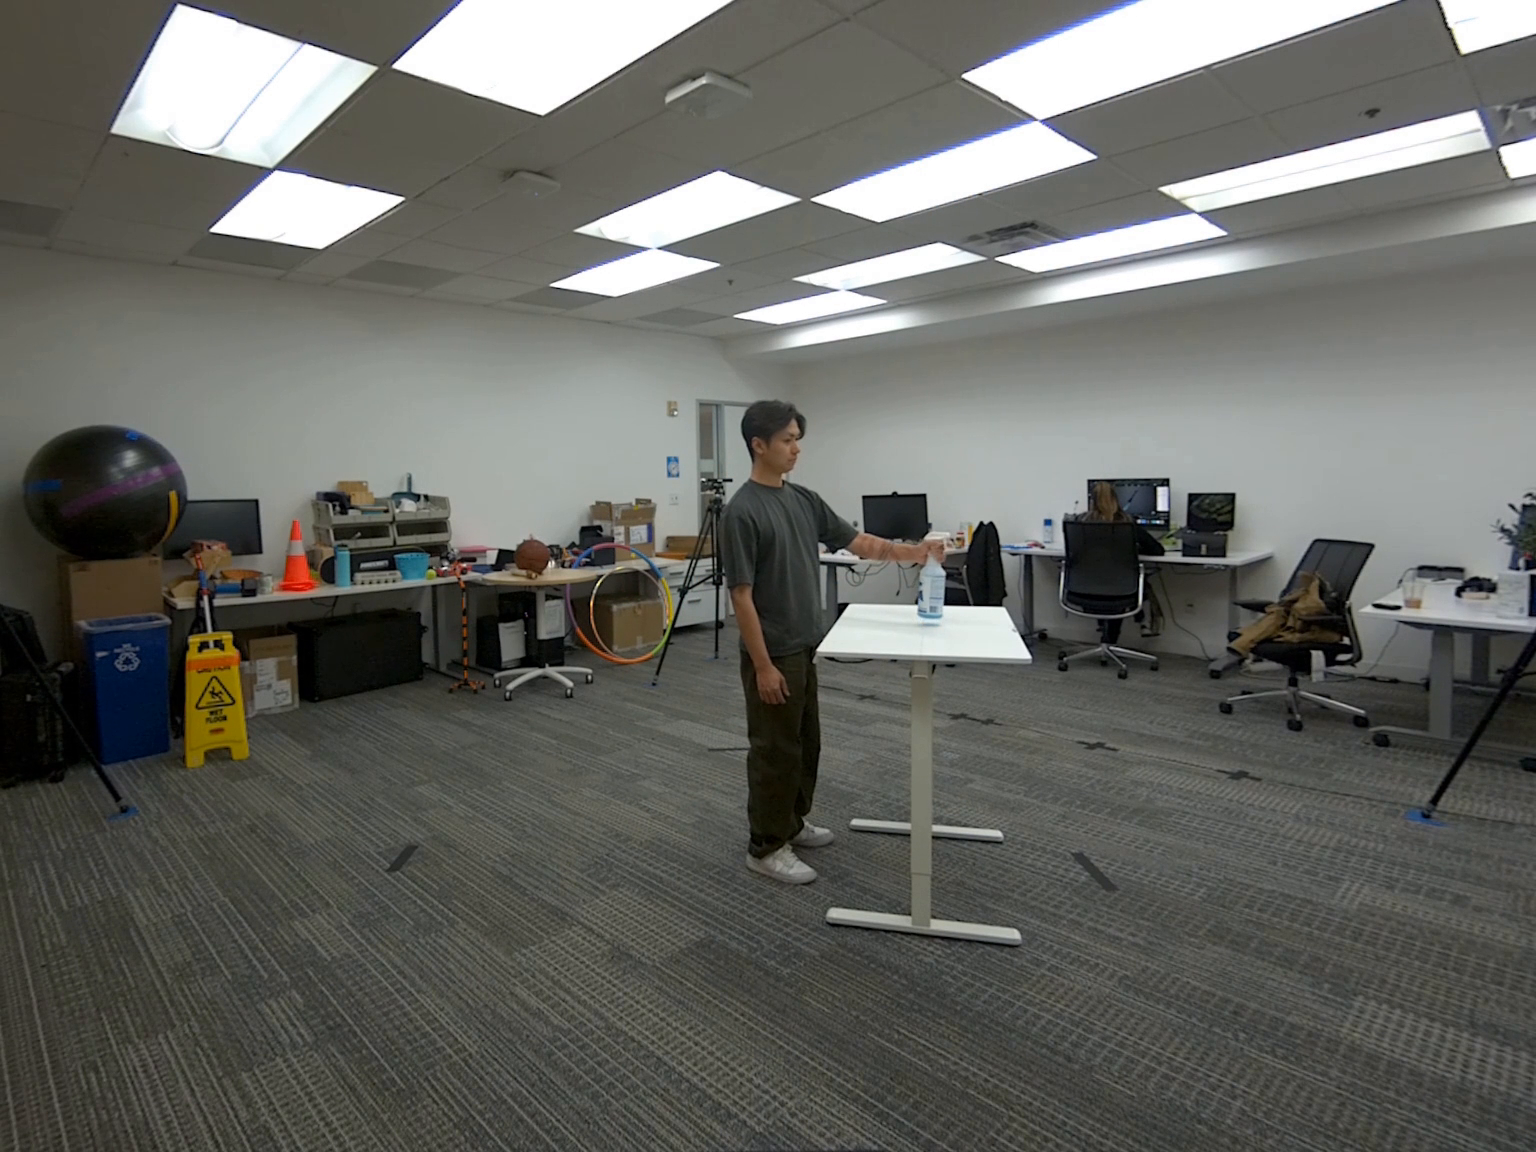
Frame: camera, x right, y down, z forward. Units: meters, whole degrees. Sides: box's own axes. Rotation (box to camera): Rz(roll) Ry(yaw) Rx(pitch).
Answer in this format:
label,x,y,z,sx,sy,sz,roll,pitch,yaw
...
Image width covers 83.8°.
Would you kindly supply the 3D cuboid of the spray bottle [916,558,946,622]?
label,x,y,z,sx,sy,sz,roll,pitch,yaw
spray bottle,0.567,-0.002,2.937,0.085,0.296,0.093,0,7,-29
